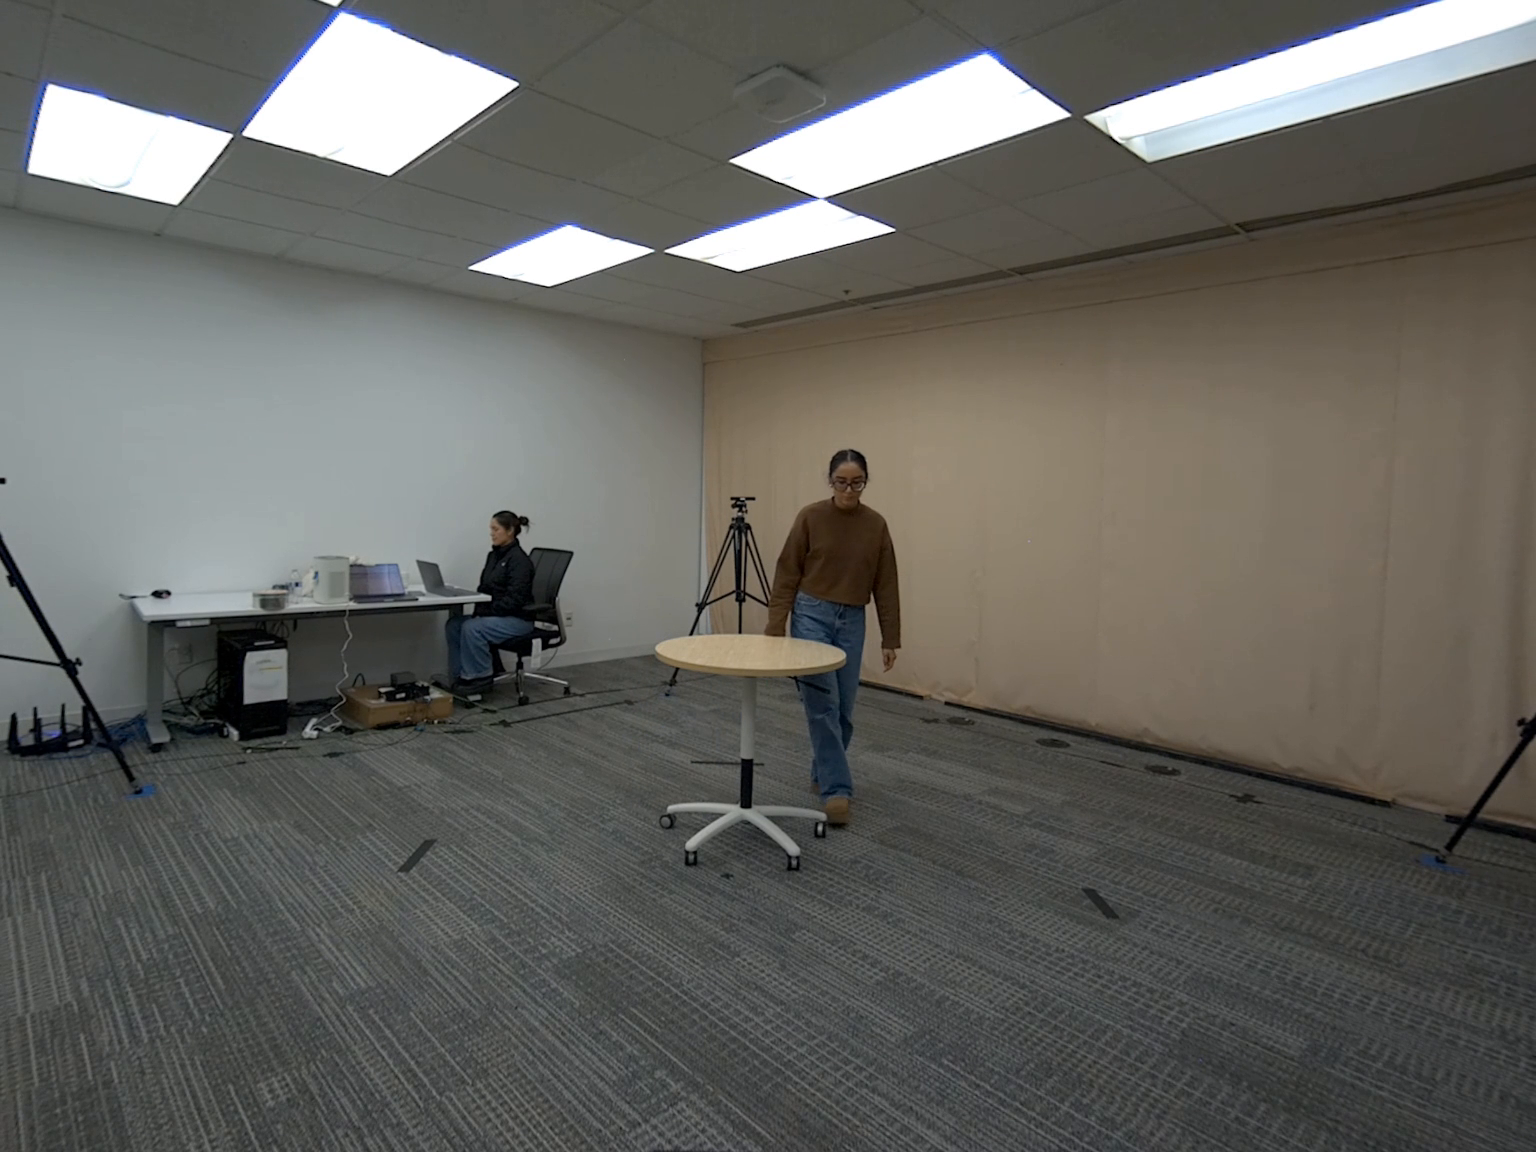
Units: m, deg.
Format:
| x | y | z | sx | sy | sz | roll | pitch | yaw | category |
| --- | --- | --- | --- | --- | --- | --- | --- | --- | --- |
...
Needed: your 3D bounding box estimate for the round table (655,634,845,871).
| x | y | z | sx | sy | sz | roll | pitch | yaw | category |
| --- | --- | --- | --- | --- | --- | --- | --- | --- | --- |
| -0.090 | 0.692 | 3.404 | 0.763 | 0.792 | 0.766 | 2 | 4 | -1 | round table |
